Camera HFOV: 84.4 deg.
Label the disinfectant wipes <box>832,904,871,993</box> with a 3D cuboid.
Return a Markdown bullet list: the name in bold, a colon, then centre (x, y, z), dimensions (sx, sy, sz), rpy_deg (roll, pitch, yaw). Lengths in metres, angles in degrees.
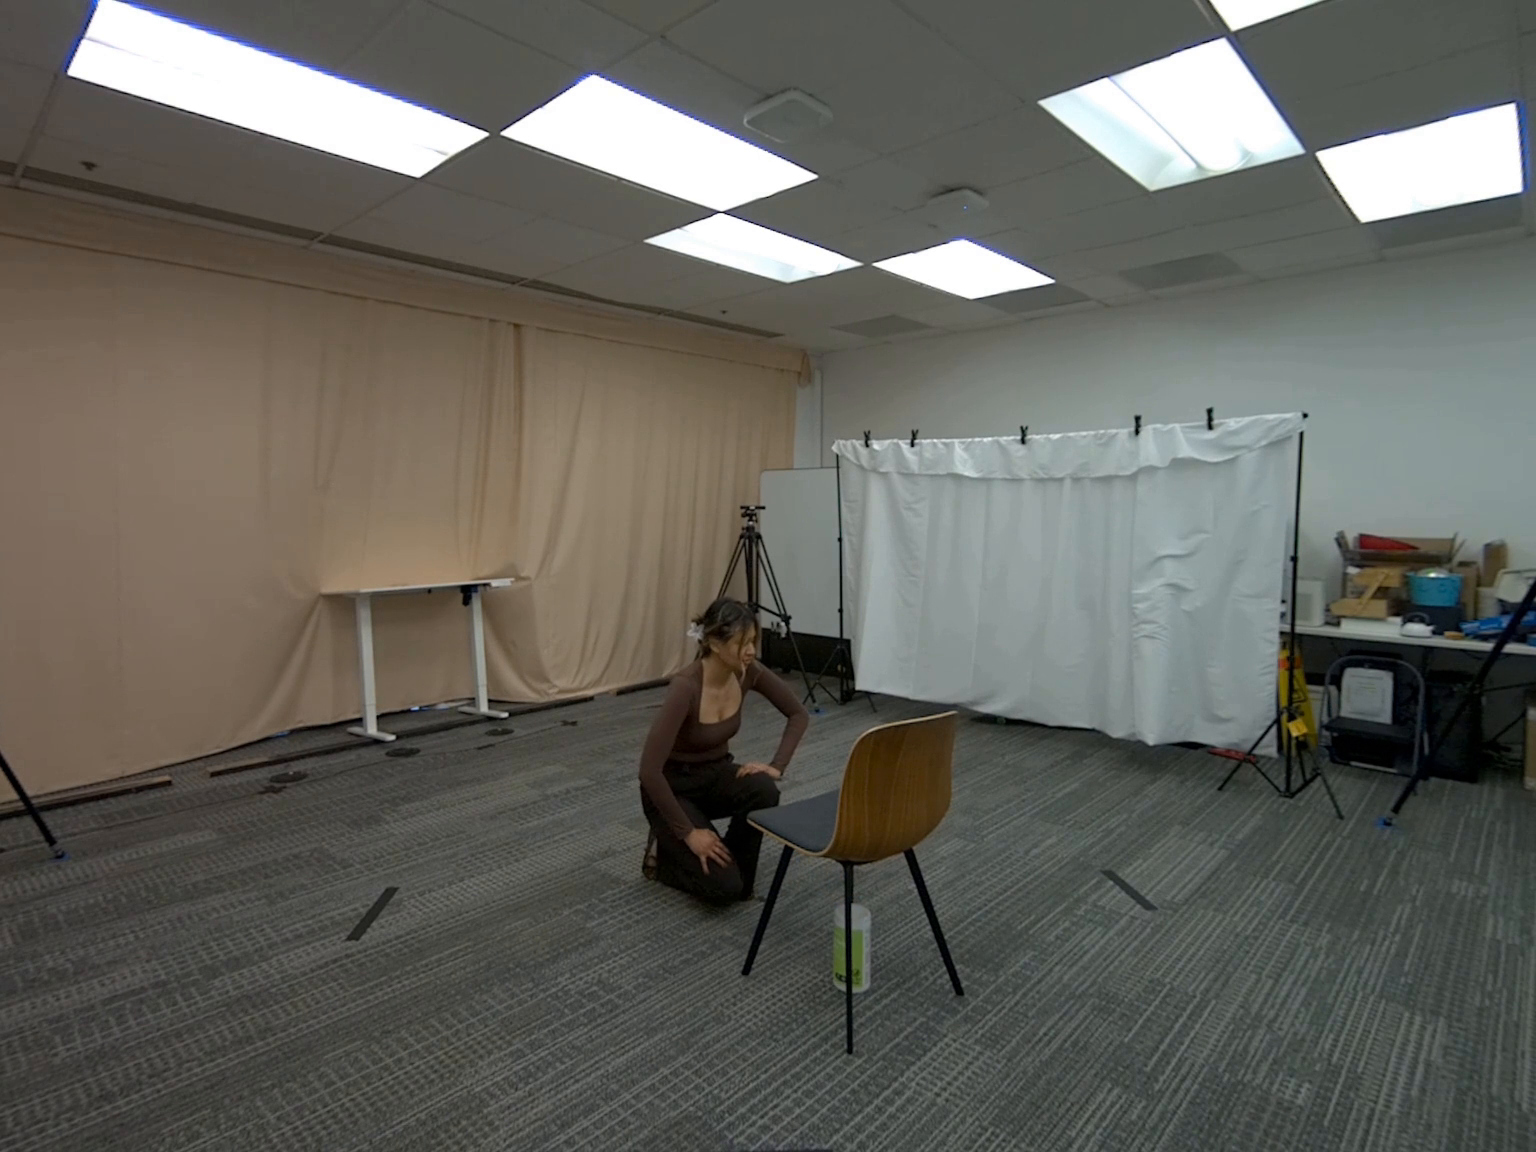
- **disinfectant wipes**: centre (0.247, 1.090, 2.441), dimensions (0.118, 0.217, 0.118), rpy_deg (-1, 2, -2)
